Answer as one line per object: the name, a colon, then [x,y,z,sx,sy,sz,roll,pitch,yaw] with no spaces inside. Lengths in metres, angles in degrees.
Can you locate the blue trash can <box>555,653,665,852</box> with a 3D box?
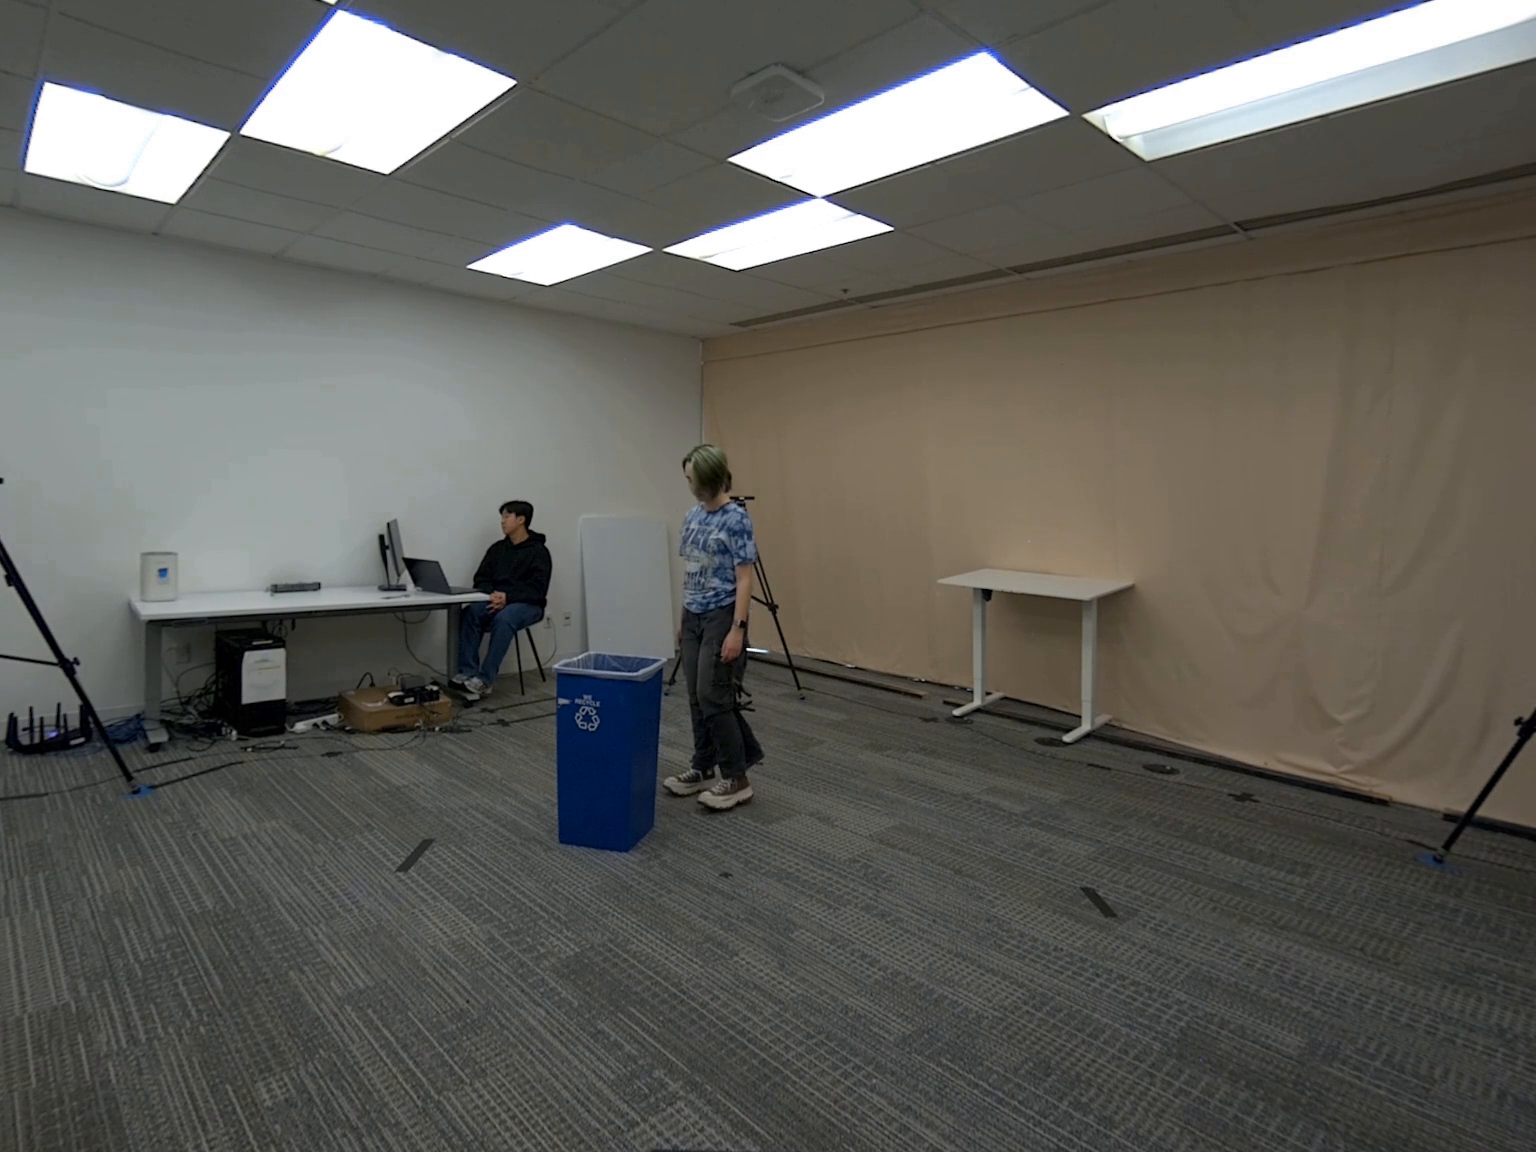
blue trash can: [-0.652,0.707,3.439,0.379,0.711,0.374,2,4,15]
